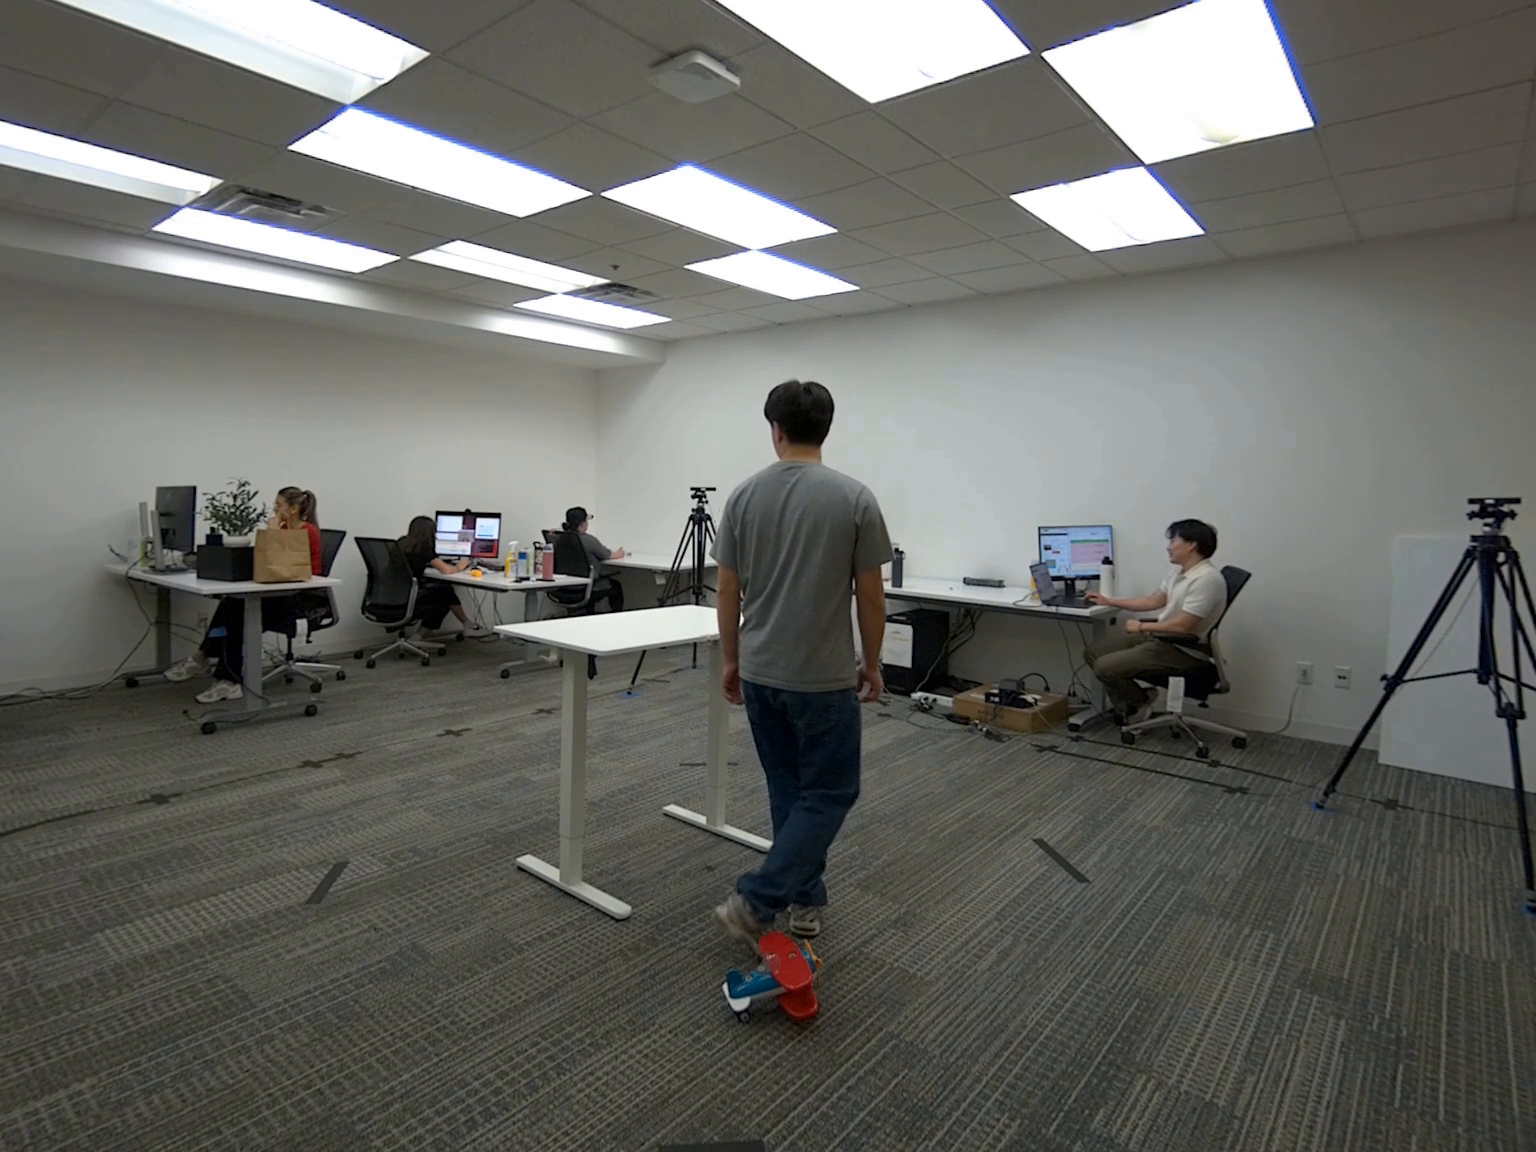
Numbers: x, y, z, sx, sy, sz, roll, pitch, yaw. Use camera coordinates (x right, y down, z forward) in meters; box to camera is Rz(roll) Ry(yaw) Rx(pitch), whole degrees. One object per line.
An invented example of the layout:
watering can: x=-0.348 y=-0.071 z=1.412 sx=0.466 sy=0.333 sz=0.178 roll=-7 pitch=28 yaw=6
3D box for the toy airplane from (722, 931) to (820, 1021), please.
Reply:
toy airplane: x=0.018 y=1.084 z=2.244 sx=0.260 sy=0.156 sz=0.251 roll=6 pitch=6 yaw=43
